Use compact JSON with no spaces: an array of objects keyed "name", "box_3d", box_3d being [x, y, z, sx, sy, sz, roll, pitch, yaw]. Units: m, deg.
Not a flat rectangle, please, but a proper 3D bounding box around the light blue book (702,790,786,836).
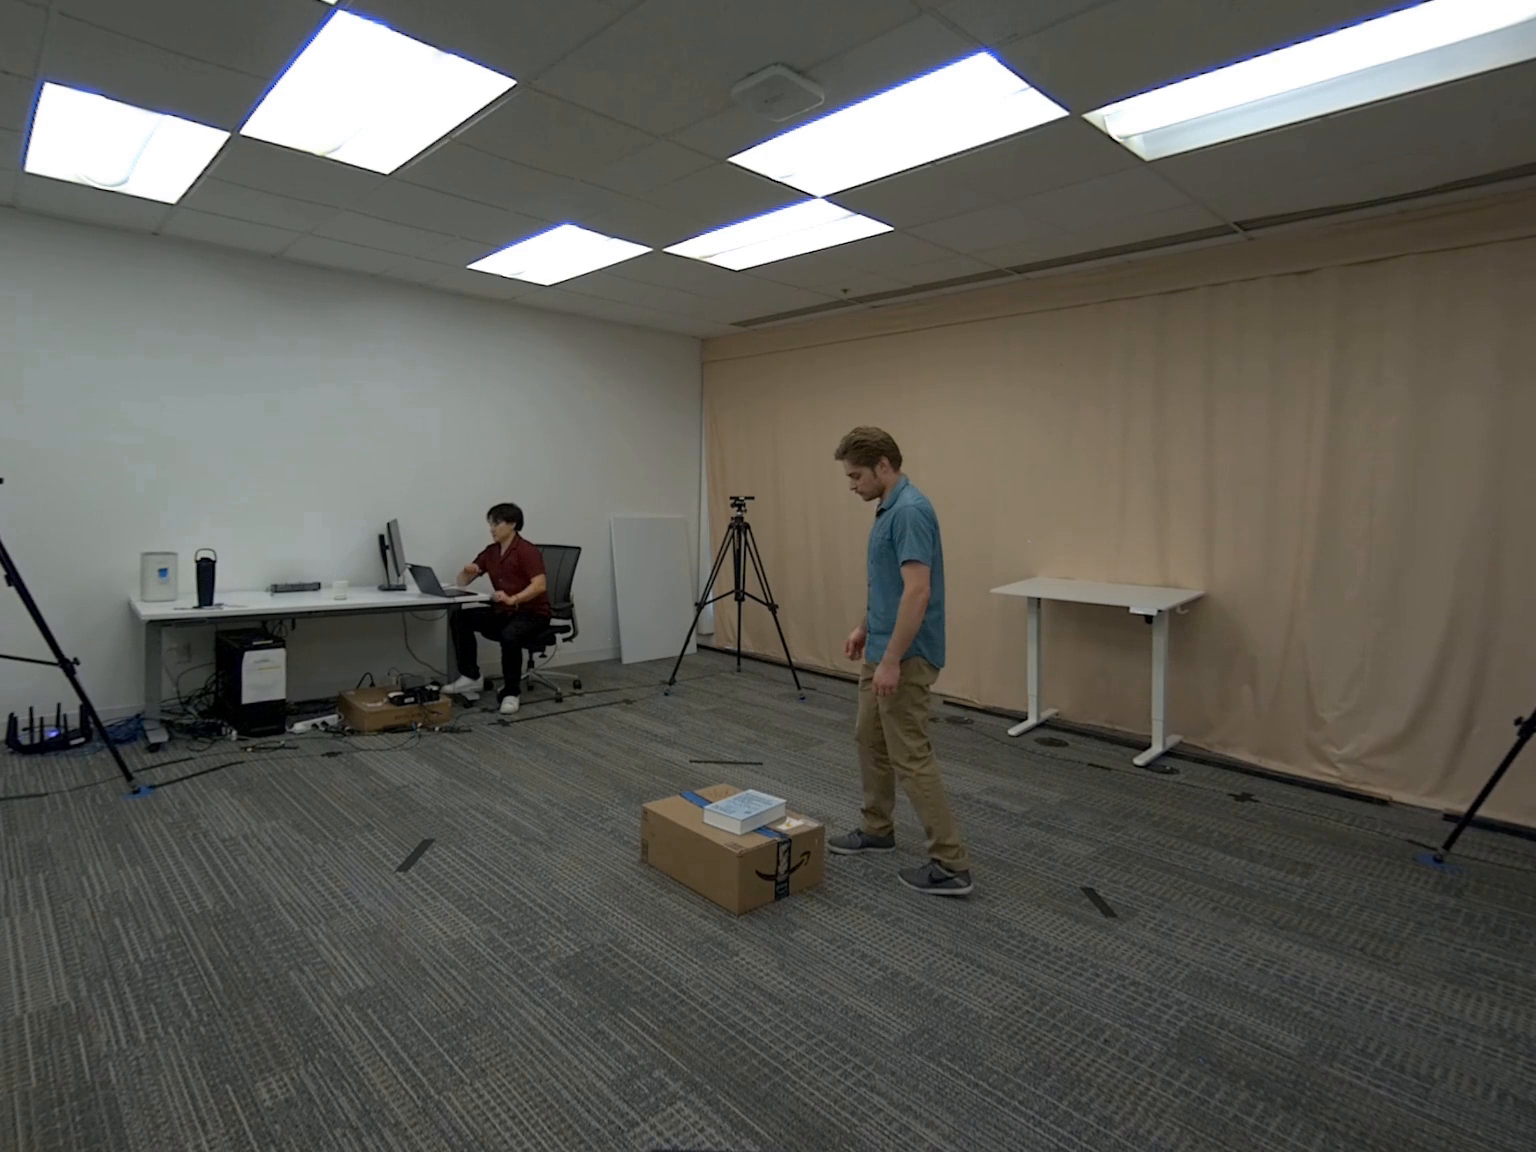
[{"name":"light blue book","box_3d":[-0.091,0.862,3.099,0.196,0.059,0.255,4,6,40]}]
